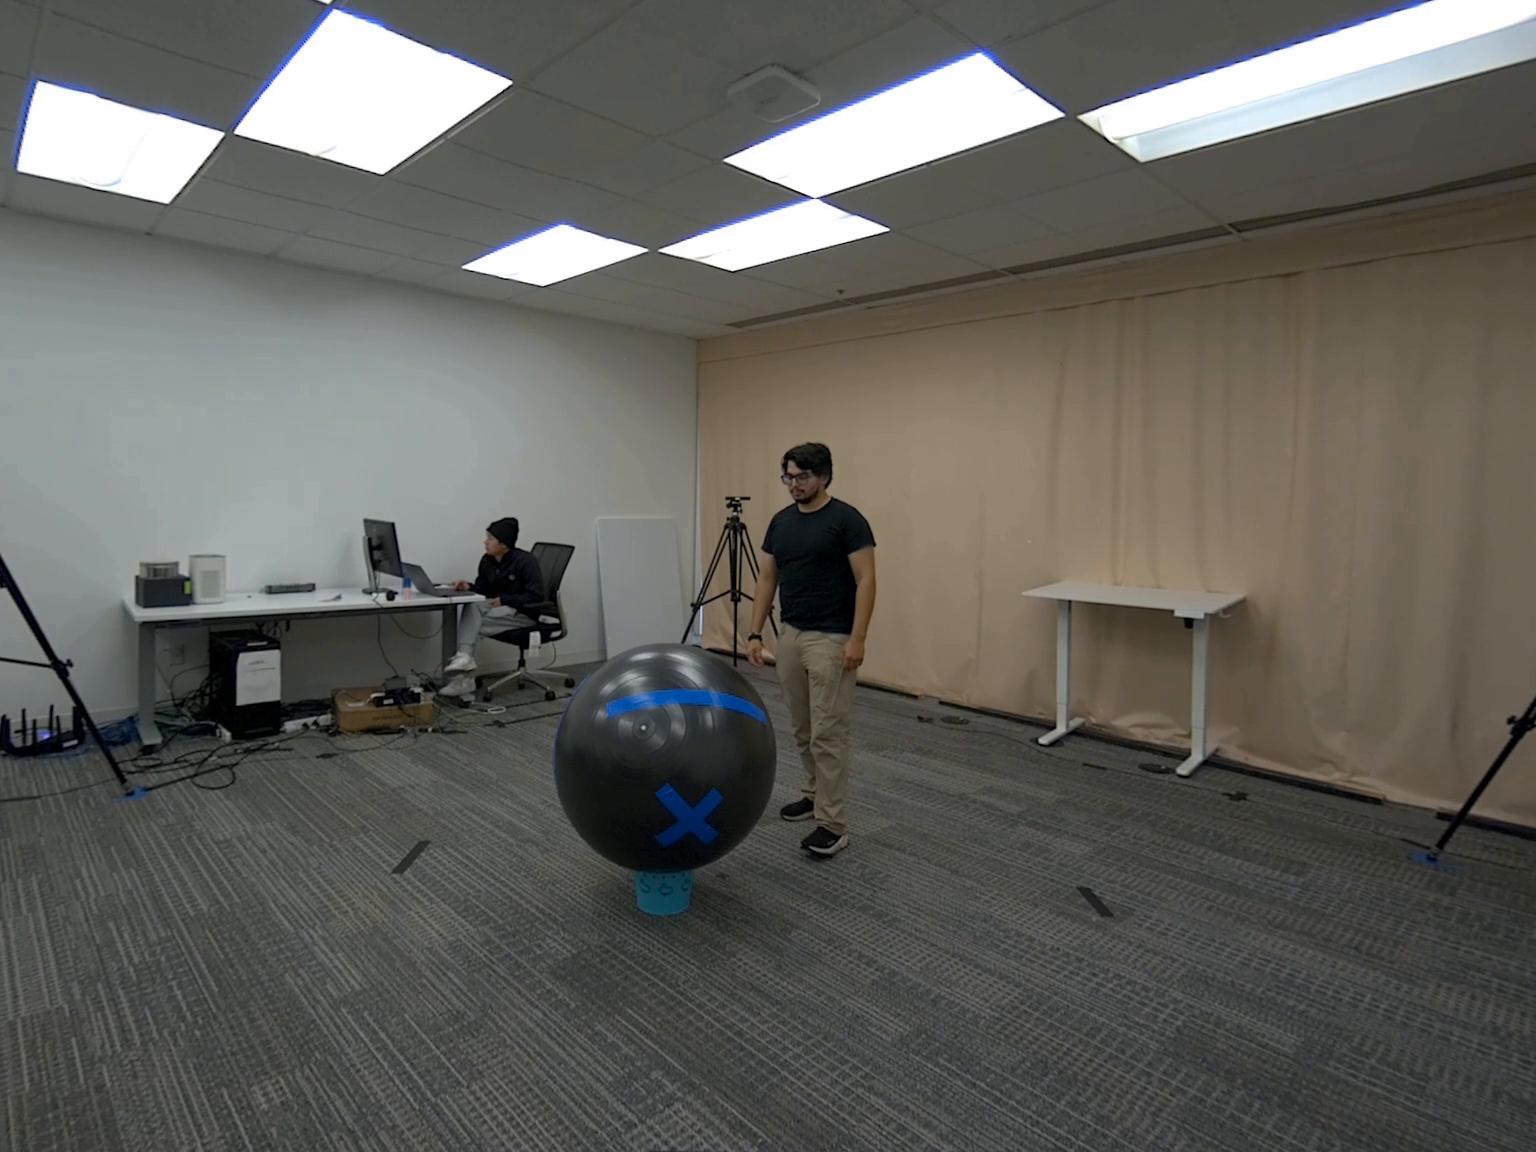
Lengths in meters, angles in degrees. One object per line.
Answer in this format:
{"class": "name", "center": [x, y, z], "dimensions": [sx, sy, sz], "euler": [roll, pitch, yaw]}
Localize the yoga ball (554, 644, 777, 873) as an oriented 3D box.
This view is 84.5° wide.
{"class": "yoga ball", "center": [-0.350, 0.618, 2.868], "dimensions": [0.757, 0.756, 0.761], "euler": [1, 4, -1]}
